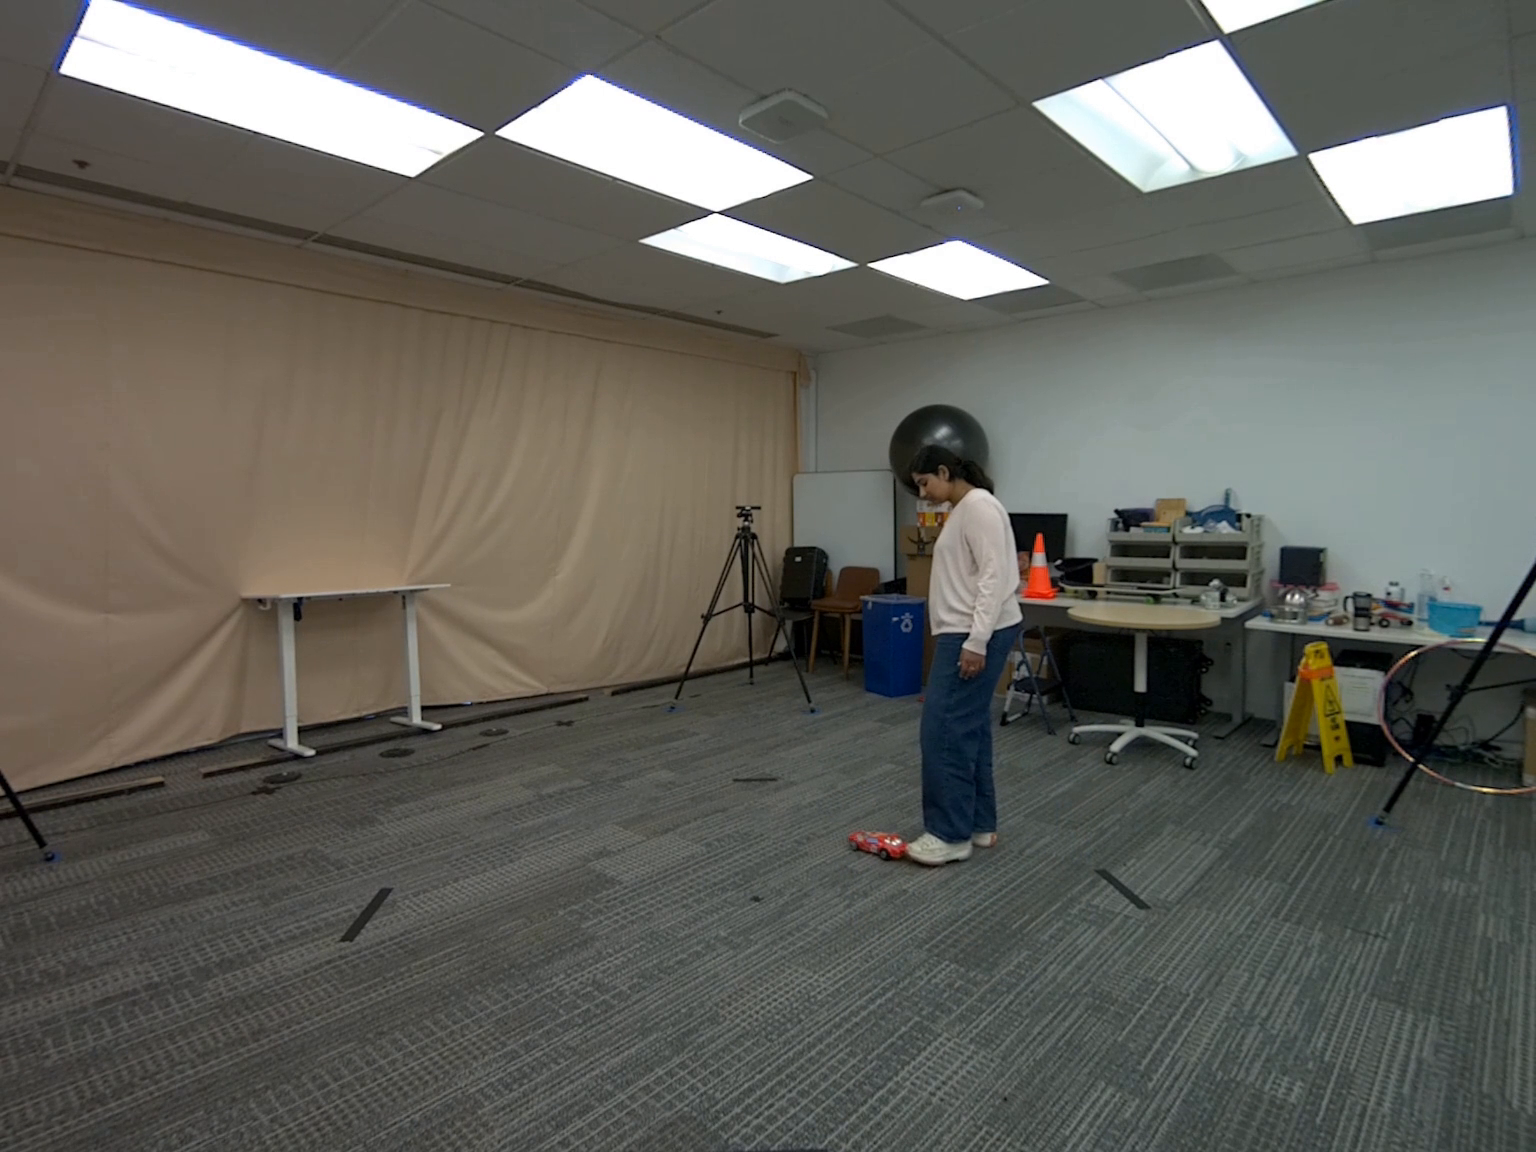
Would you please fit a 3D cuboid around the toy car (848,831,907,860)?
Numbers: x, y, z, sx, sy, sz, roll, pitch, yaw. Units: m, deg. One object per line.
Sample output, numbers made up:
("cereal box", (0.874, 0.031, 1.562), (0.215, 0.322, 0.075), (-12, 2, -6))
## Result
("toy car", (0.453, 1.081, 3.387), (0.261, 0.083, 0.126), (-10, -4, 40))
